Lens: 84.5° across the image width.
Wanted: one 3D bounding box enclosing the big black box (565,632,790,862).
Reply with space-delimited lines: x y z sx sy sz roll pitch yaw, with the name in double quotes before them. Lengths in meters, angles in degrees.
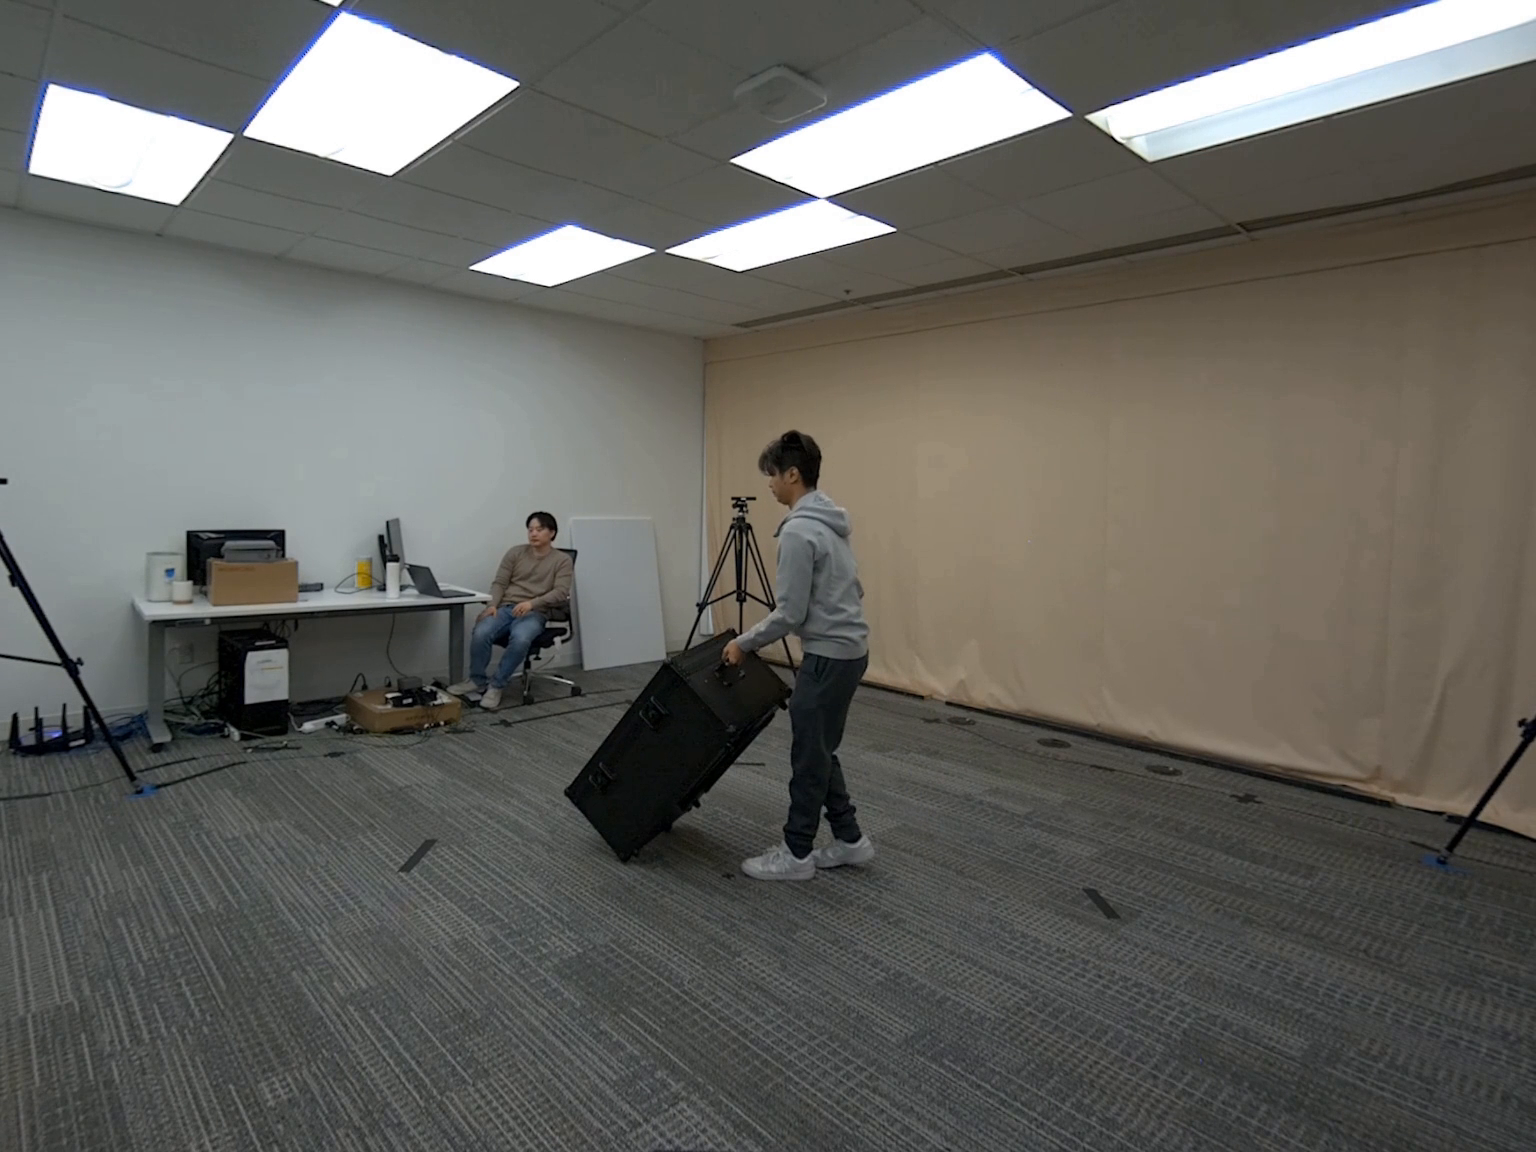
"big black box" -0.362 0.675 3.278 0.403 0.859 0.514 45 26 14
